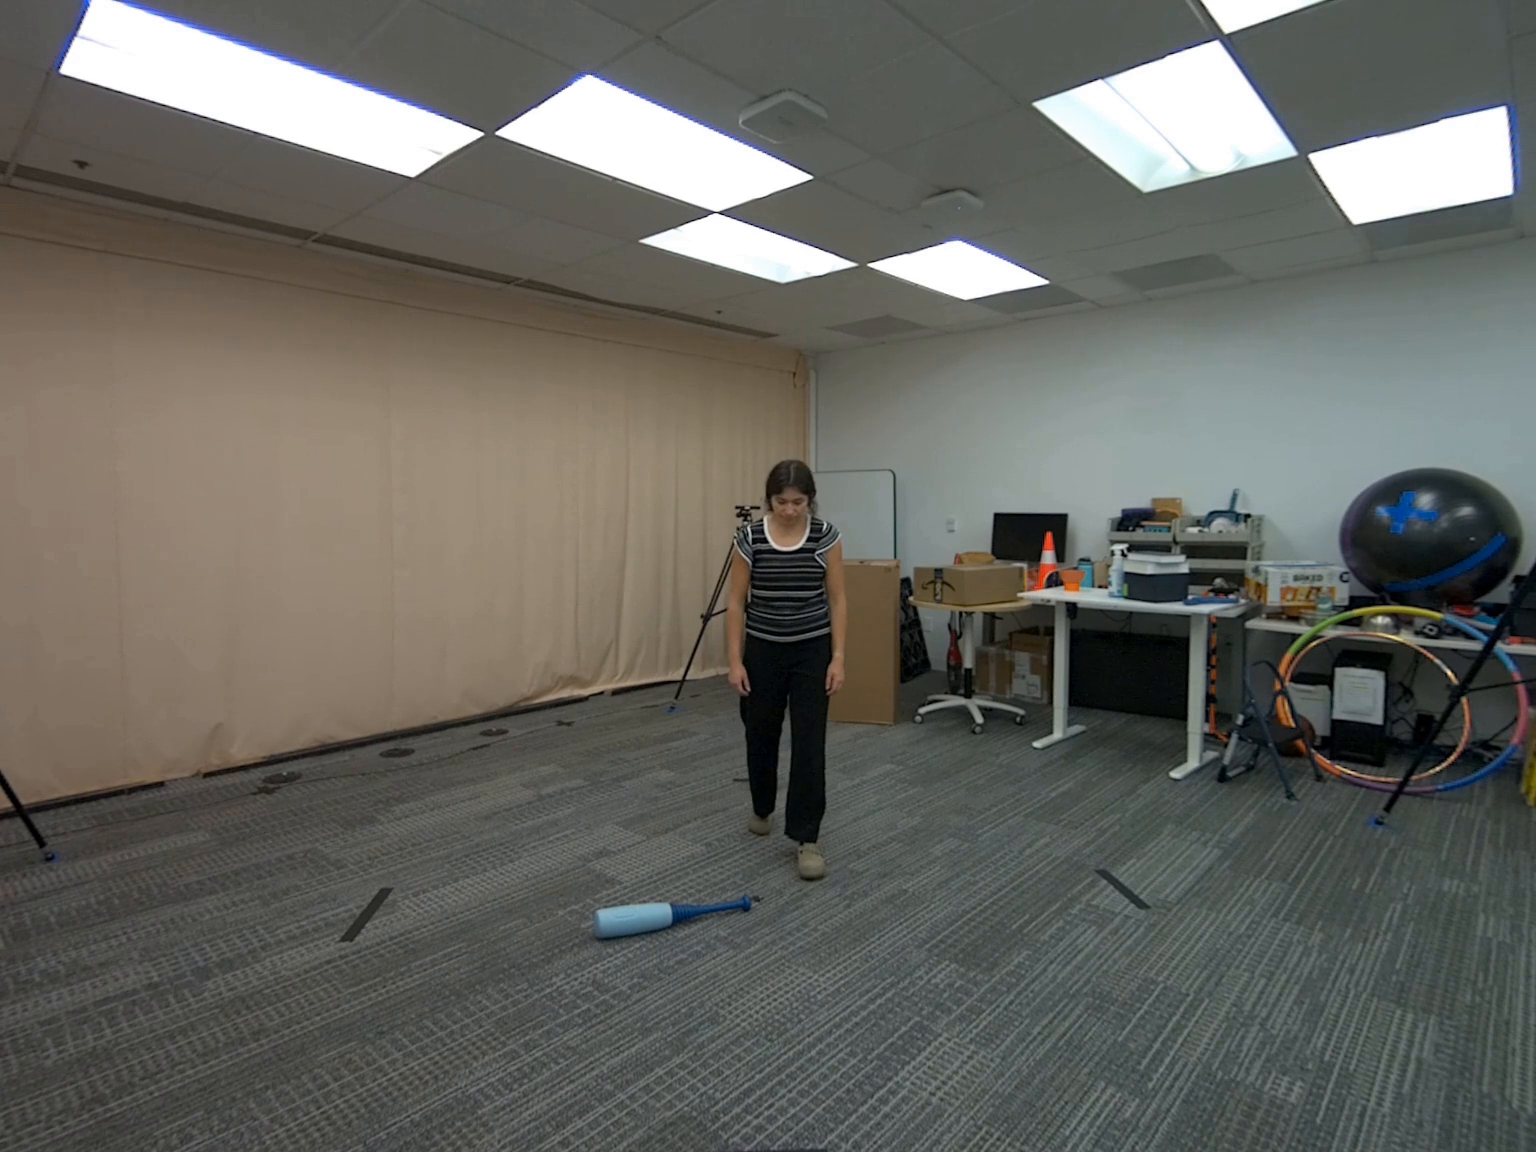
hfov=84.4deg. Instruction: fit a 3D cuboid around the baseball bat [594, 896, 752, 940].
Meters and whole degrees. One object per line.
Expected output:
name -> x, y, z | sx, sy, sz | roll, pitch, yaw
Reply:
baseball bat -> -0.308, 1.128, 2.798 | 0.531, 0.089, 0.091 | 1, 3, -21
